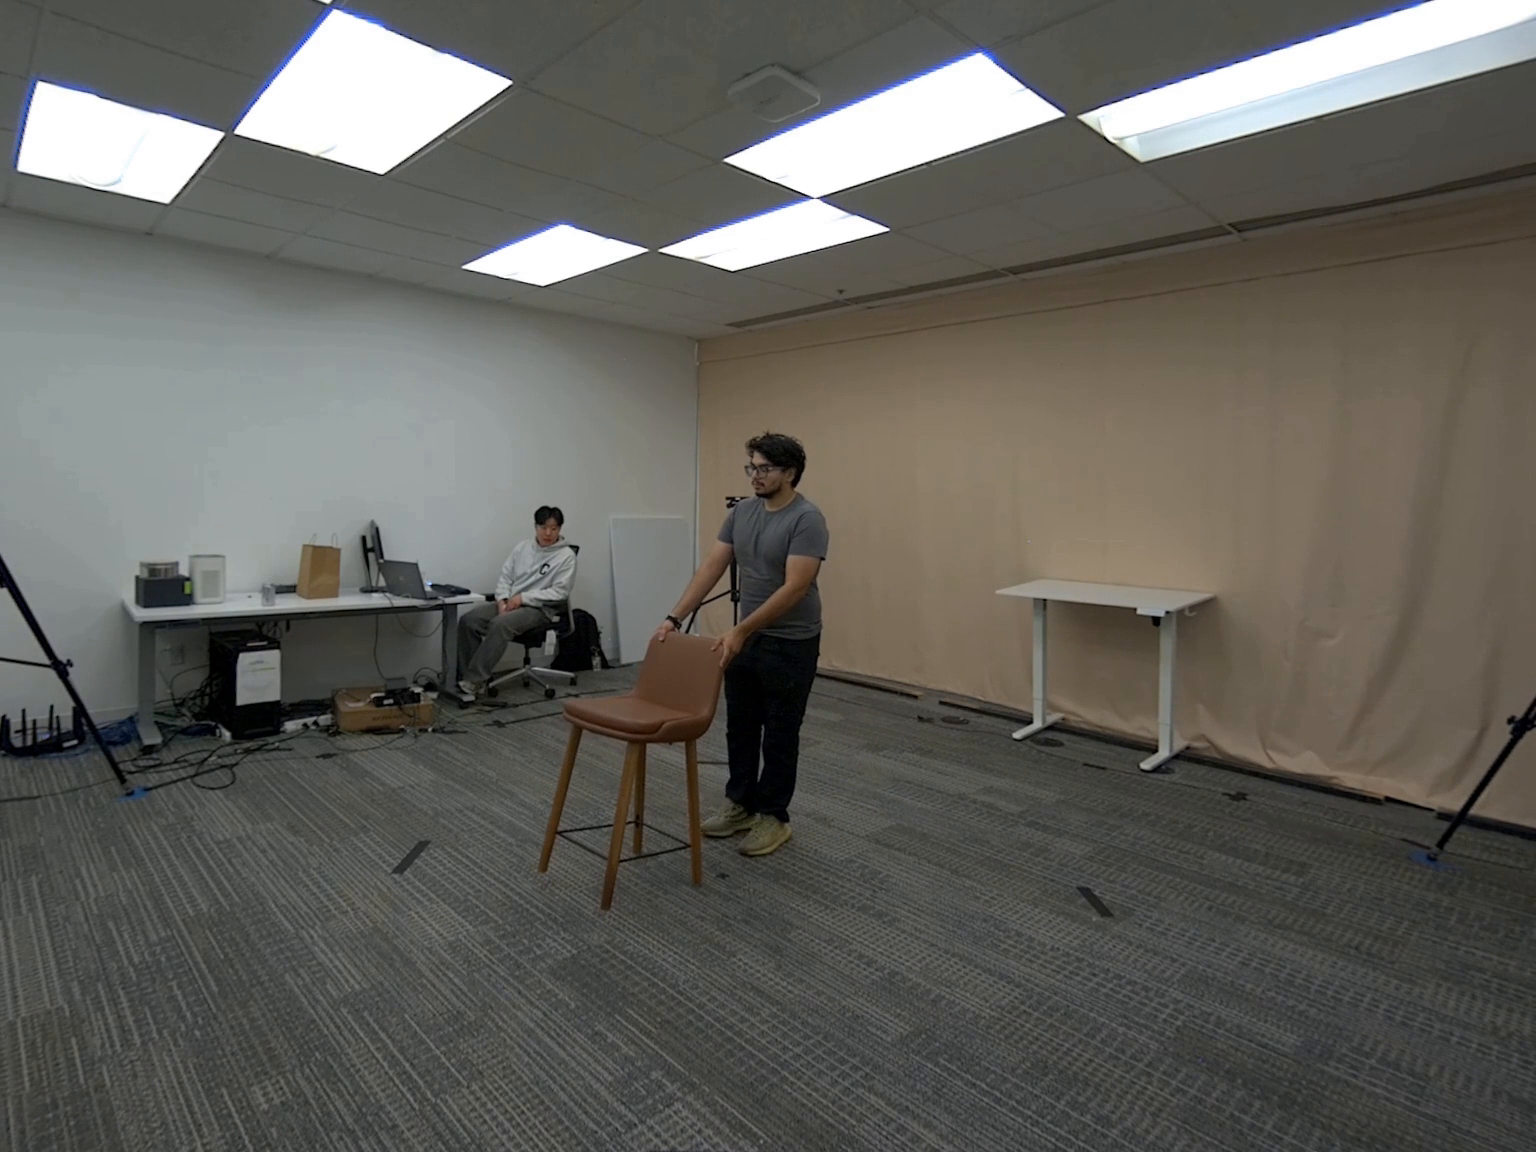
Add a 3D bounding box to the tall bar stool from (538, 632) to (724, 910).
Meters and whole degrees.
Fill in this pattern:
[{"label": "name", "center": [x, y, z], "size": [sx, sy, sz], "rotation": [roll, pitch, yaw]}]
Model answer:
[{"label": "tall bar stool", "center": [-0.478, 0.649, 3.023], "size": [0.468, 0.891, 0.455], "rotation": [4, -4, 45]}]
